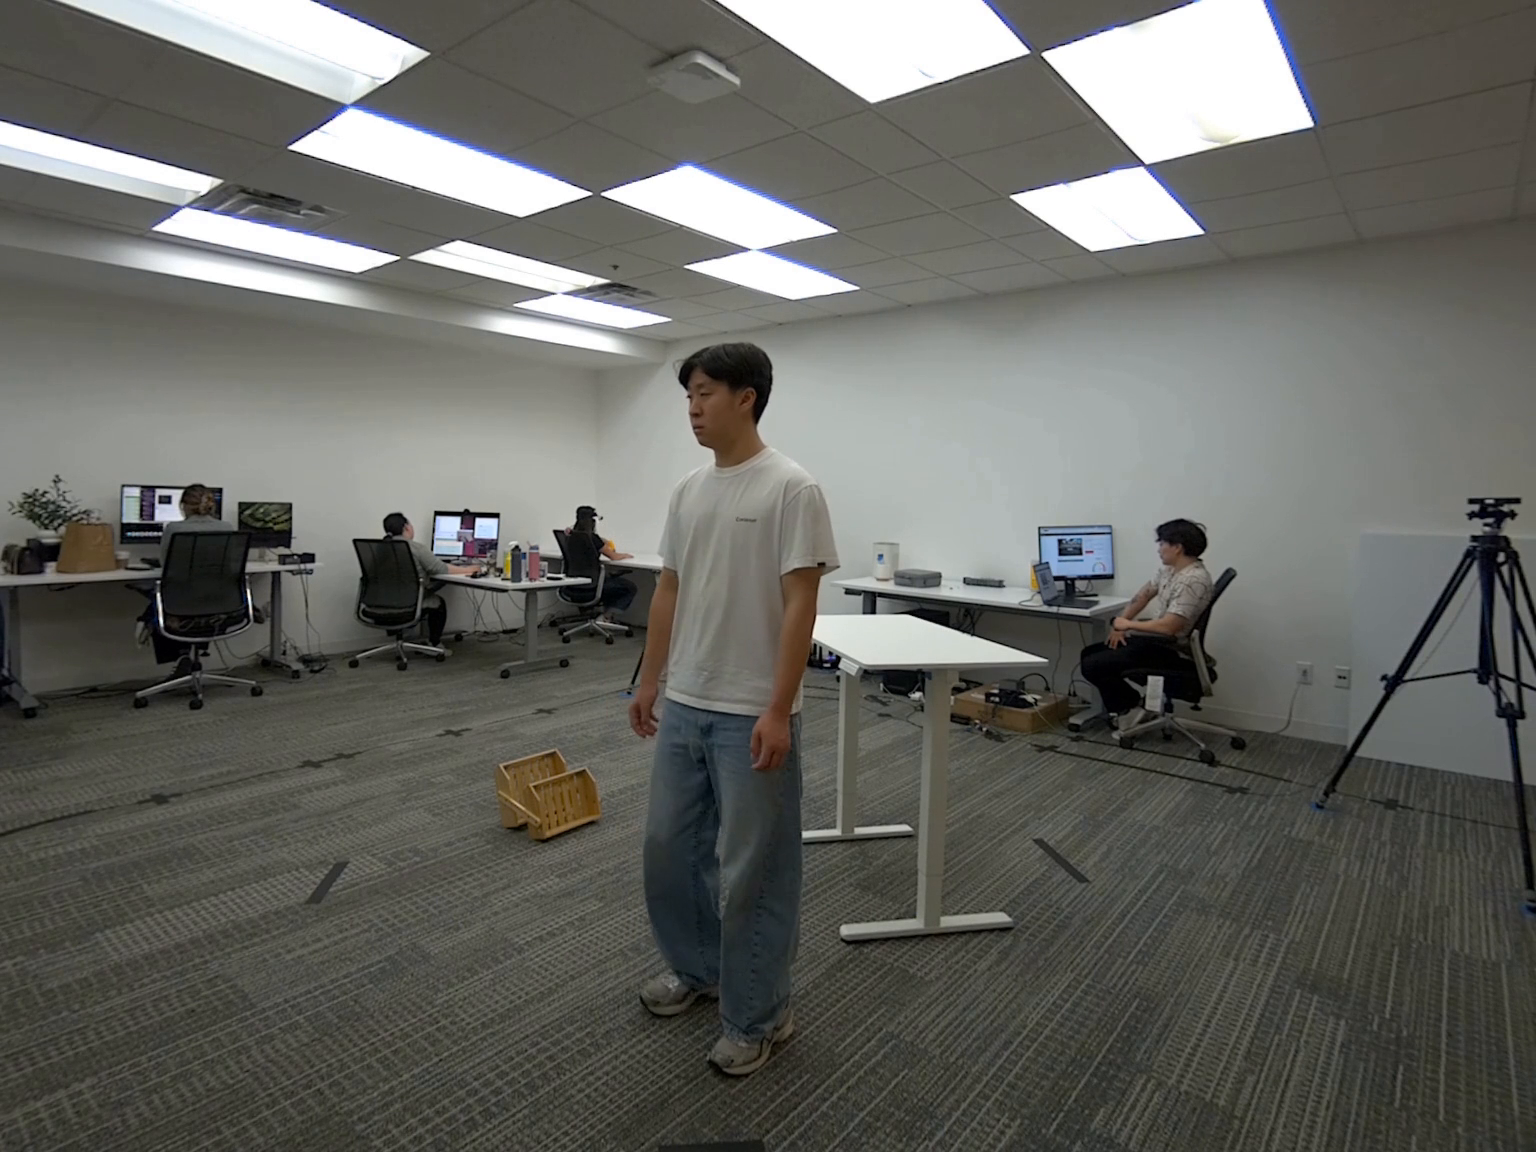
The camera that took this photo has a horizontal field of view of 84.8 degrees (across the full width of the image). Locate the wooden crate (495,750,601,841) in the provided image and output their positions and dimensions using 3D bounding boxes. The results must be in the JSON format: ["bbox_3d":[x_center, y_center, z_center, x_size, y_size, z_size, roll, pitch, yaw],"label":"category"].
[{"bbox_3d":[-0.914,0.881,3.498,0.279,0.305,0.315,-17,-8,37],"label":"wooden crate"}]
